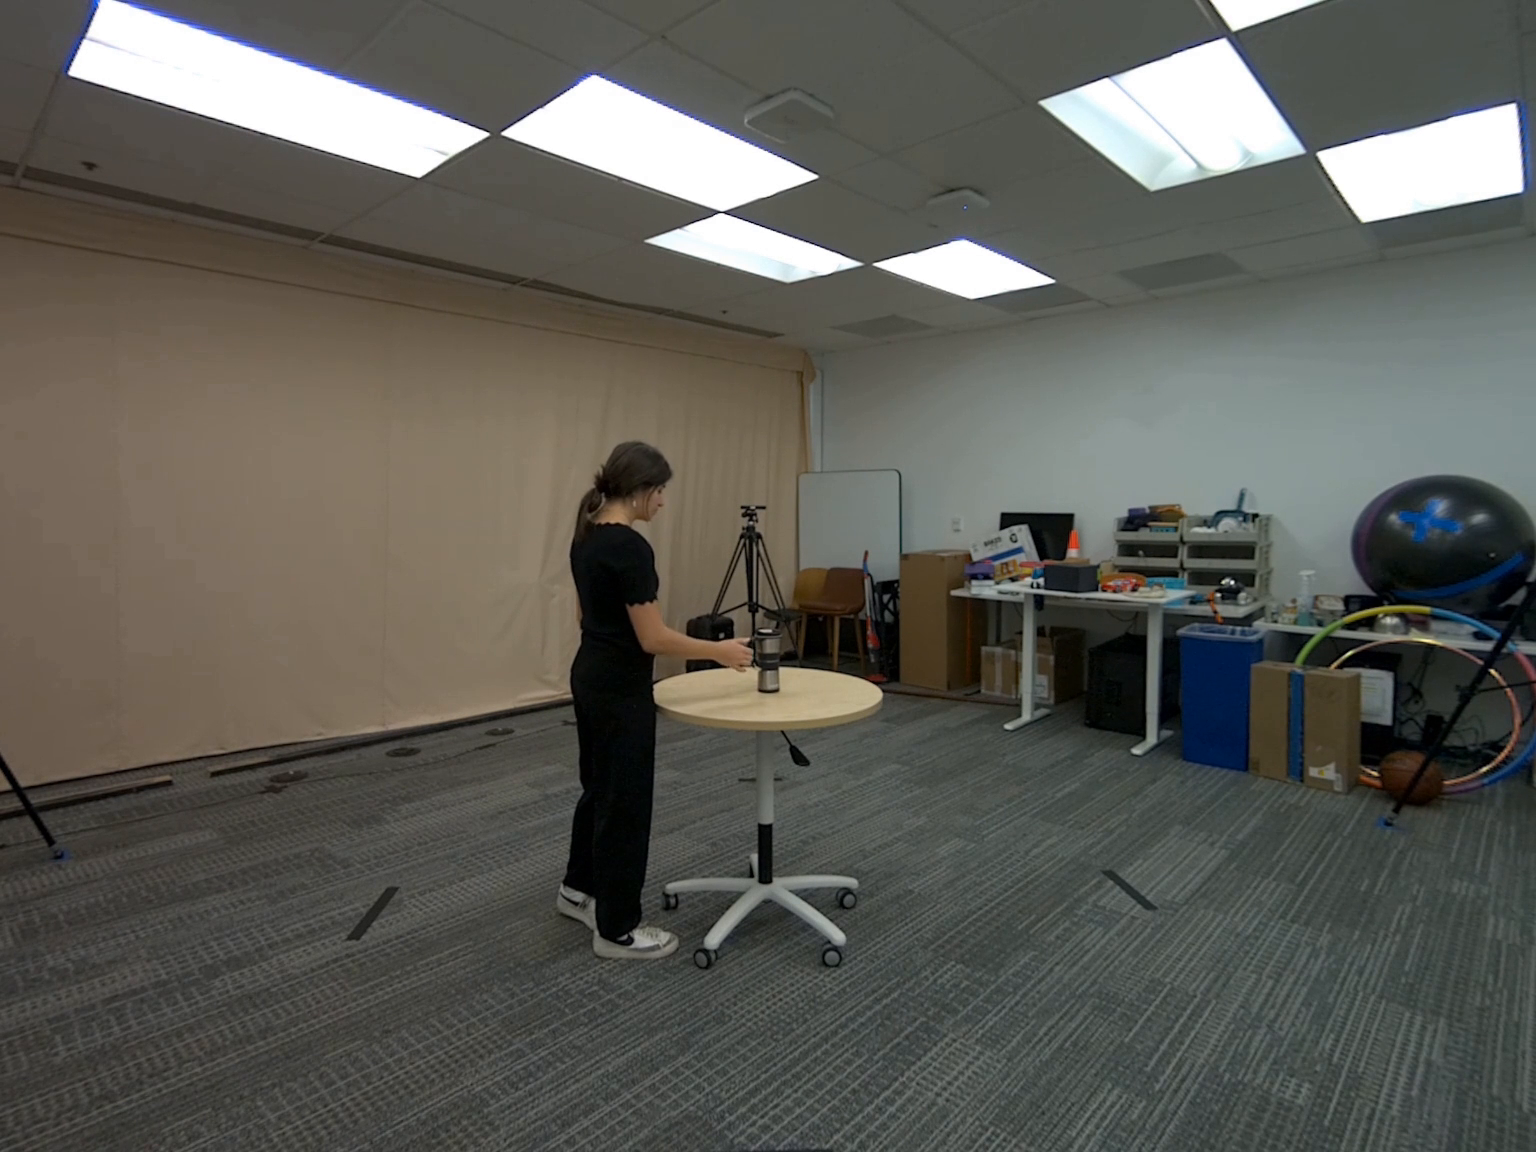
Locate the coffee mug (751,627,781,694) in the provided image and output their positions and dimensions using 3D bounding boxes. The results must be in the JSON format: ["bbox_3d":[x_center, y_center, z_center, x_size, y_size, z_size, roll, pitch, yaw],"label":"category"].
[{"bbox_3d":[-0.012,0.280,2.759,0.125,0.202,0.086,5,9,29],"label":"coffee mug"}]
